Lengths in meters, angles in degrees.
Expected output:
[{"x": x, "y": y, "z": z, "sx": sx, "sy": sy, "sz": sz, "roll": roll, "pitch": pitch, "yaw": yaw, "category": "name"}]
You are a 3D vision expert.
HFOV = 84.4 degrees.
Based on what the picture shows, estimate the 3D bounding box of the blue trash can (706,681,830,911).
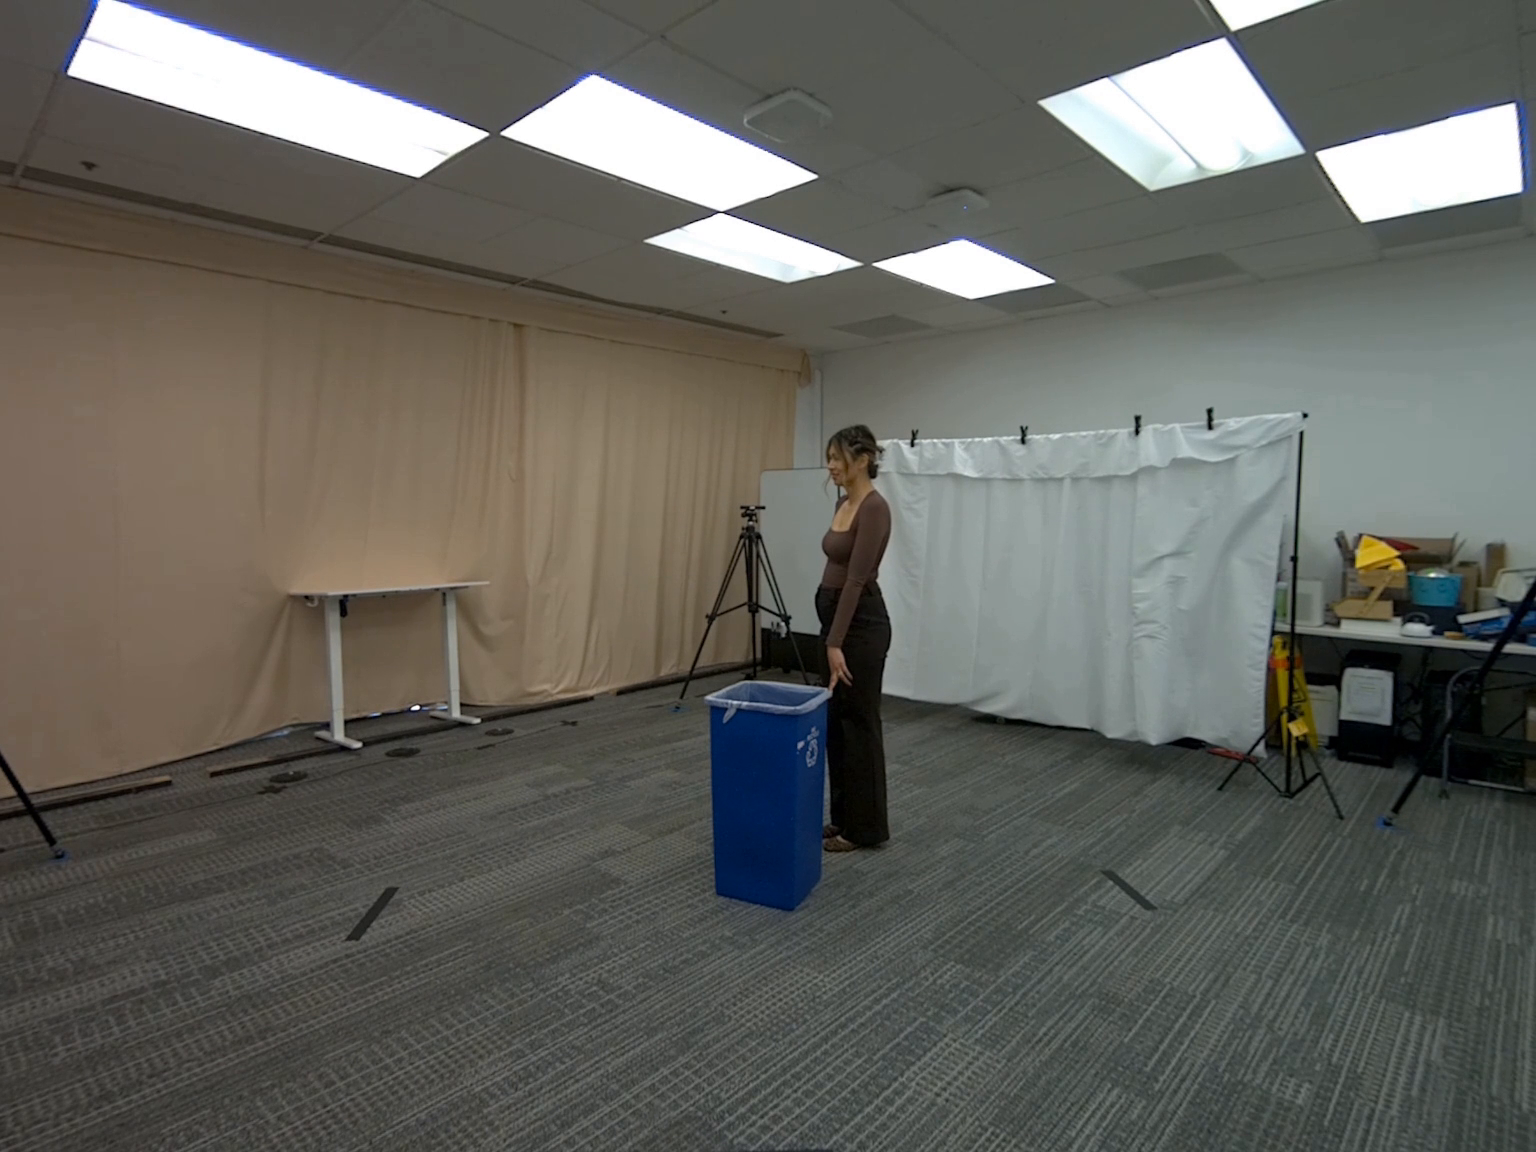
[{"x": 0.008, "y": 0.777, "z": 3.071, "sx": 0.388, "sy": 0.712, "sz": 0.365, "roll": 2, "pitch": 4, "yaw": 25, "category": "blue trash can"}]
